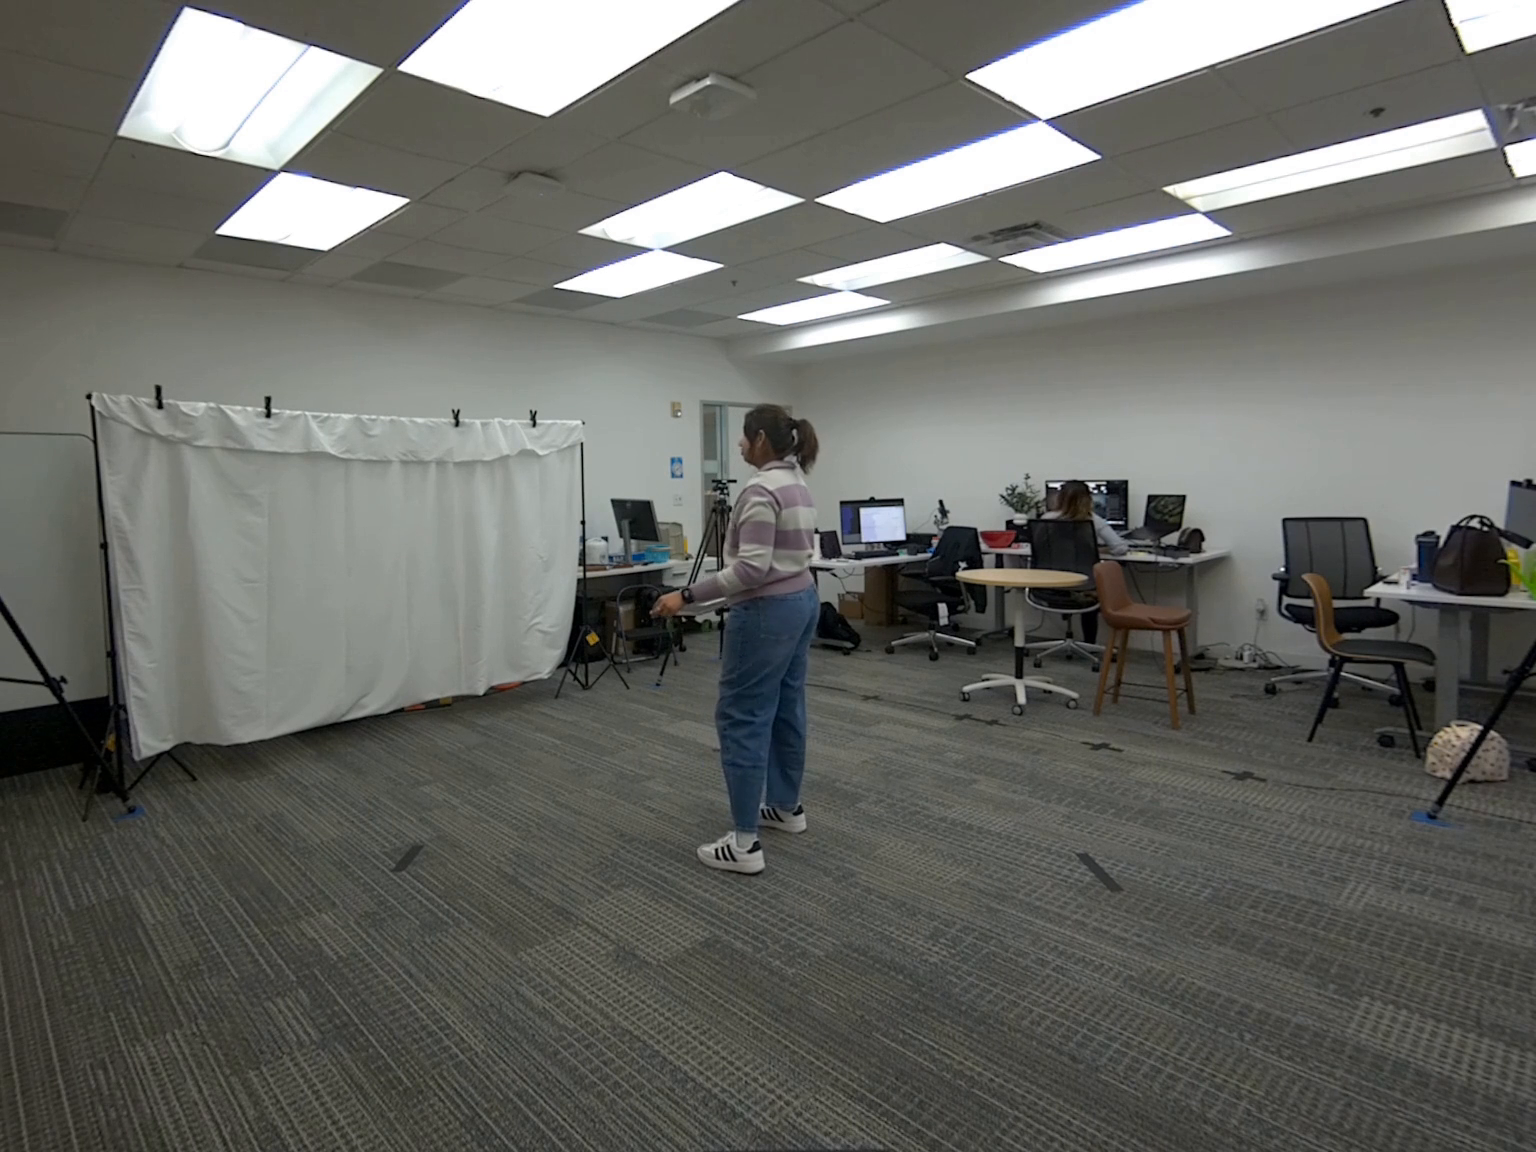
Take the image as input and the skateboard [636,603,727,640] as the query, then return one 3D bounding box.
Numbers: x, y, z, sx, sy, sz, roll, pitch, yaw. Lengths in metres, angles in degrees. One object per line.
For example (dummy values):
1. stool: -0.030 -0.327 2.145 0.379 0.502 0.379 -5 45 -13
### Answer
1. skateboard: -0.224 0.133 3.437 0.198 0.110 0.770 -2 5 26
